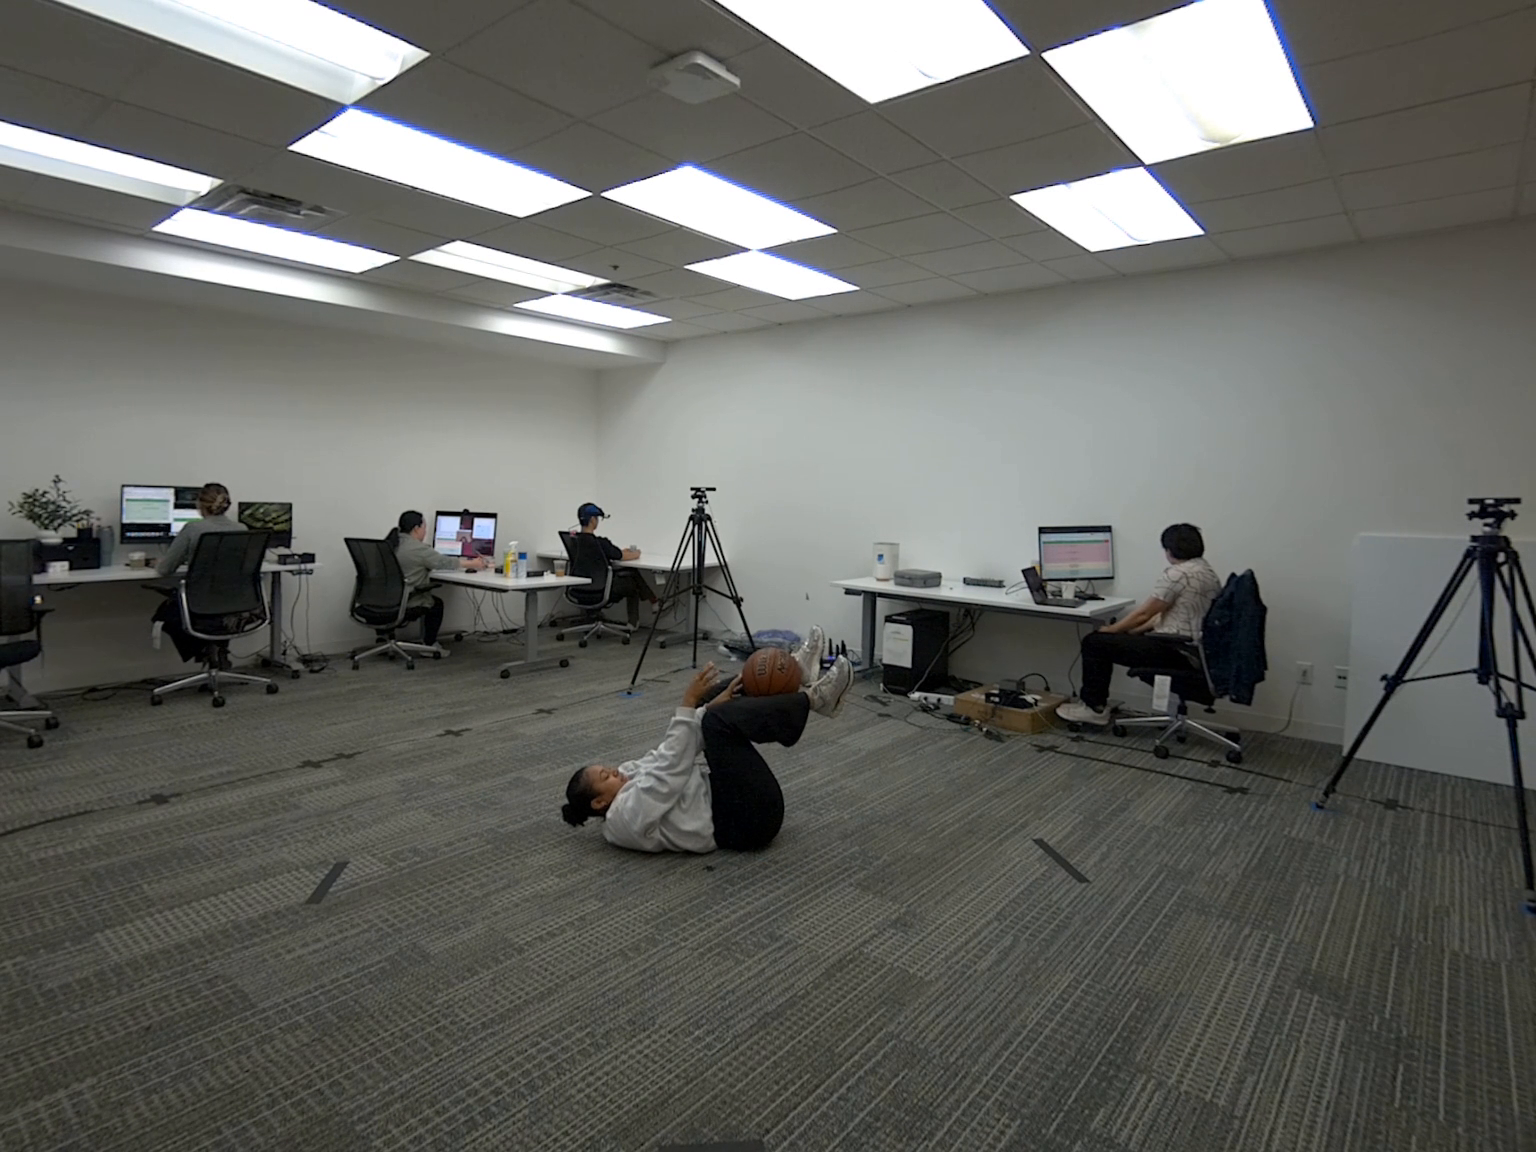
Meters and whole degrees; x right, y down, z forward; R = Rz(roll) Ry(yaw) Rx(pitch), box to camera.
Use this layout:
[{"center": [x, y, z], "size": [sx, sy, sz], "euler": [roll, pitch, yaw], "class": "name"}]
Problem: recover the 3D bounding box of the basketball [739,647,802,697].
[{"center": [0.007, 0.401, 3.399], "size": [0.235, 0.235, 0.237], "euler": [1, 4, -2], "class": "basketball"}]
